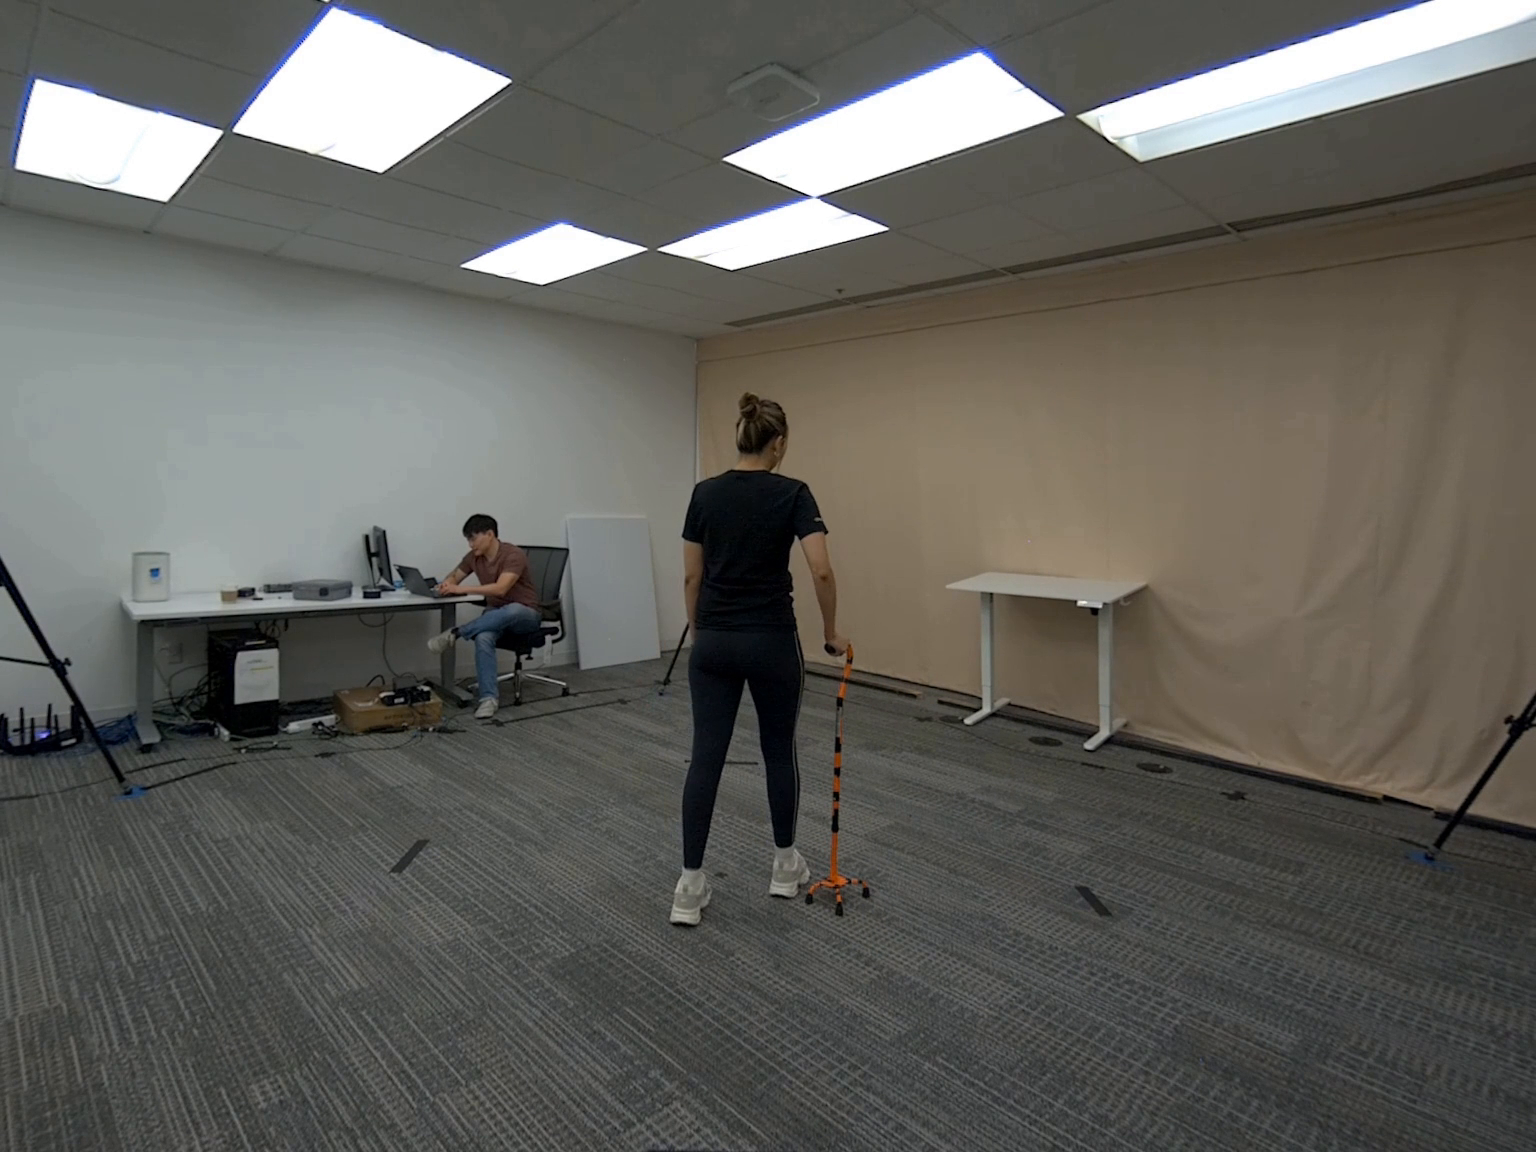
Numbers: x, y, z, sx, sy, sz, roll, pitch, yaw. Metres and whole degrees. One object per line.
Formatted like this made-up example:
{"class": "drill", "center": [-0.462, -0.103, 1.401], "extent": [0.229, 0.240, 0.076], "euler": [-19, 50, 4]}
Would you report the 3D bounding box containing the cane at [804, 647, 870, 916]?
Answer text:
{"class": "cane", "center": [0.252, 0.673, 2.909], "extent": [0.155, 0.906, 0.202], "euler": [3, 3, 35]}
